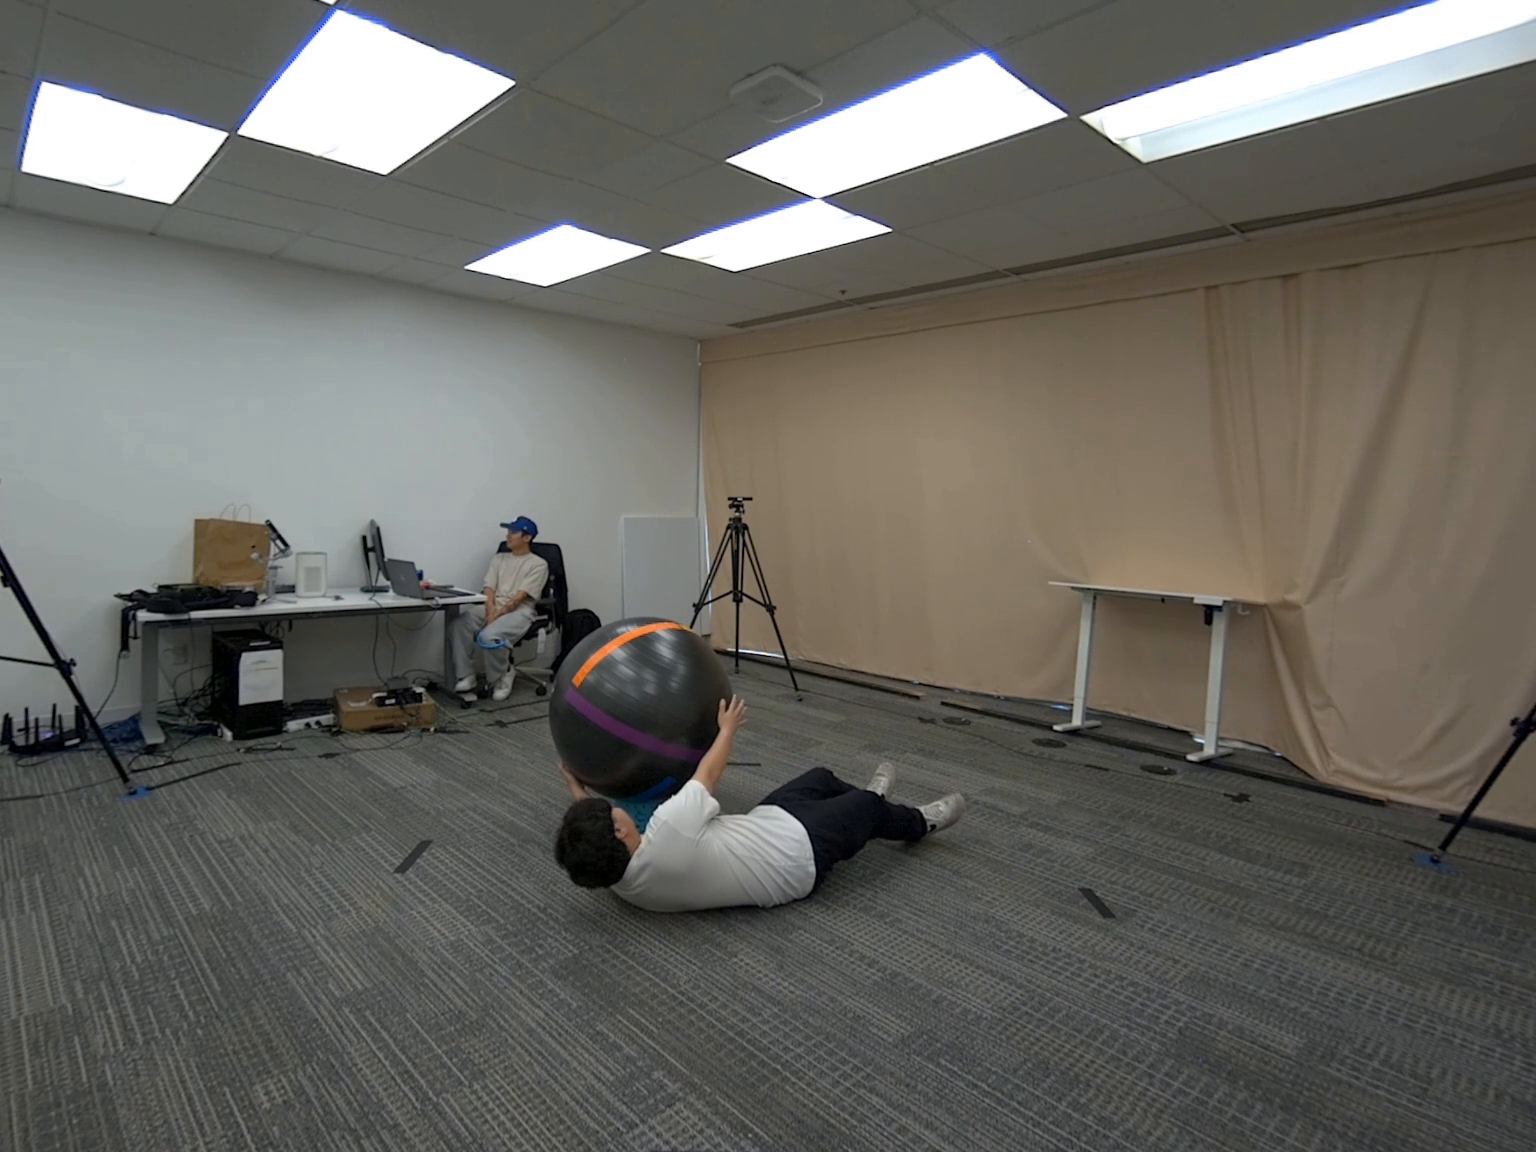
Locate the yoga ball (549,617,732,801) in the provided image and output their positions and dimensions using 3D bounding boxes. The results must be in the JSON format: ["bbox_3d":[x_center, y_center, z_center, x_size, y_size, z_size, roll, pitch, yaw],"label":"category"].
[{"bbox_3d":[-0.528,0.552,3.515,0.757,0.756,0.761,1,4,-1],"label":"yoga ball"}]
